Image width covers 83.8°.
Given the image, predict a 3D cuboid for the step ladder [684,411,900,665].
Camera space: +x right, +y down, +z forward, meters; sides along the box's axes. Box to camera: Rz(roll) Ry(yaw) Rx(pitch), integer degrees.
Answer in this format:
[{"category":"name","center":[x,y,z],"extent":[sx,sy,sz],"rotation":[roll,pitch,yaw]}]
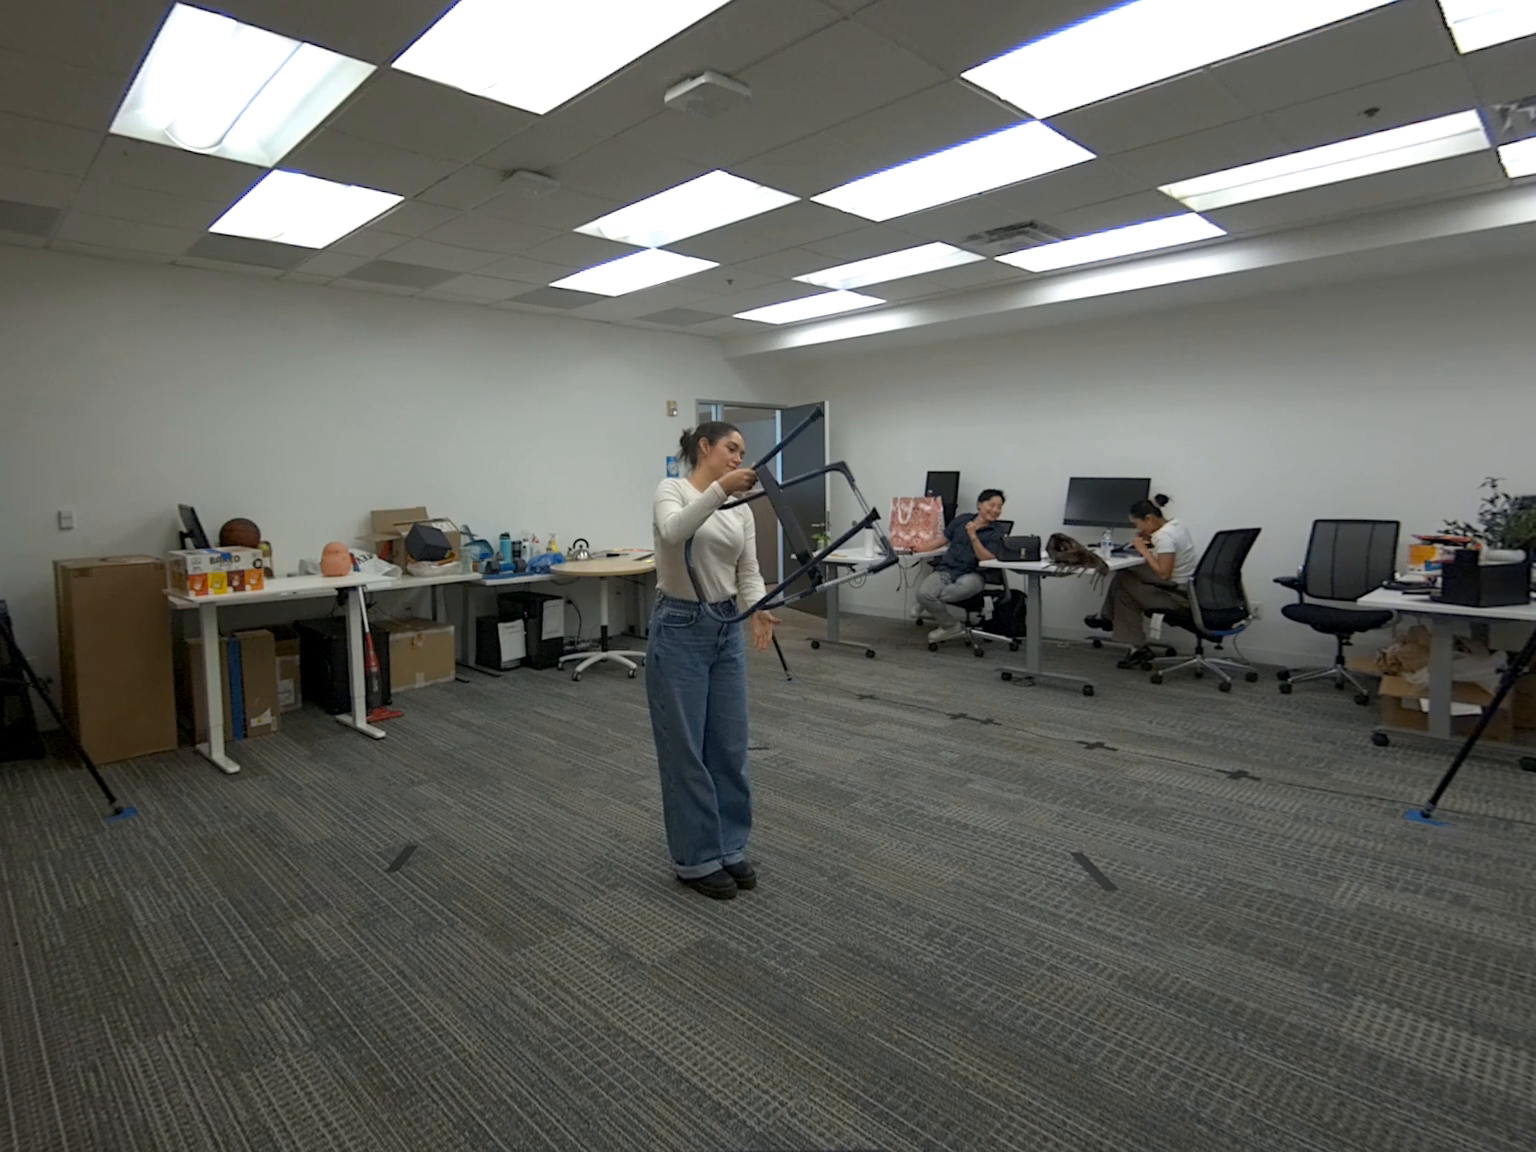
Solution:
[{"category":"step ladder","center":[0.017,-0.127,2.586],"extent":[0.608,0.445,0.337],"rotation":[-28,-31,7]}]
